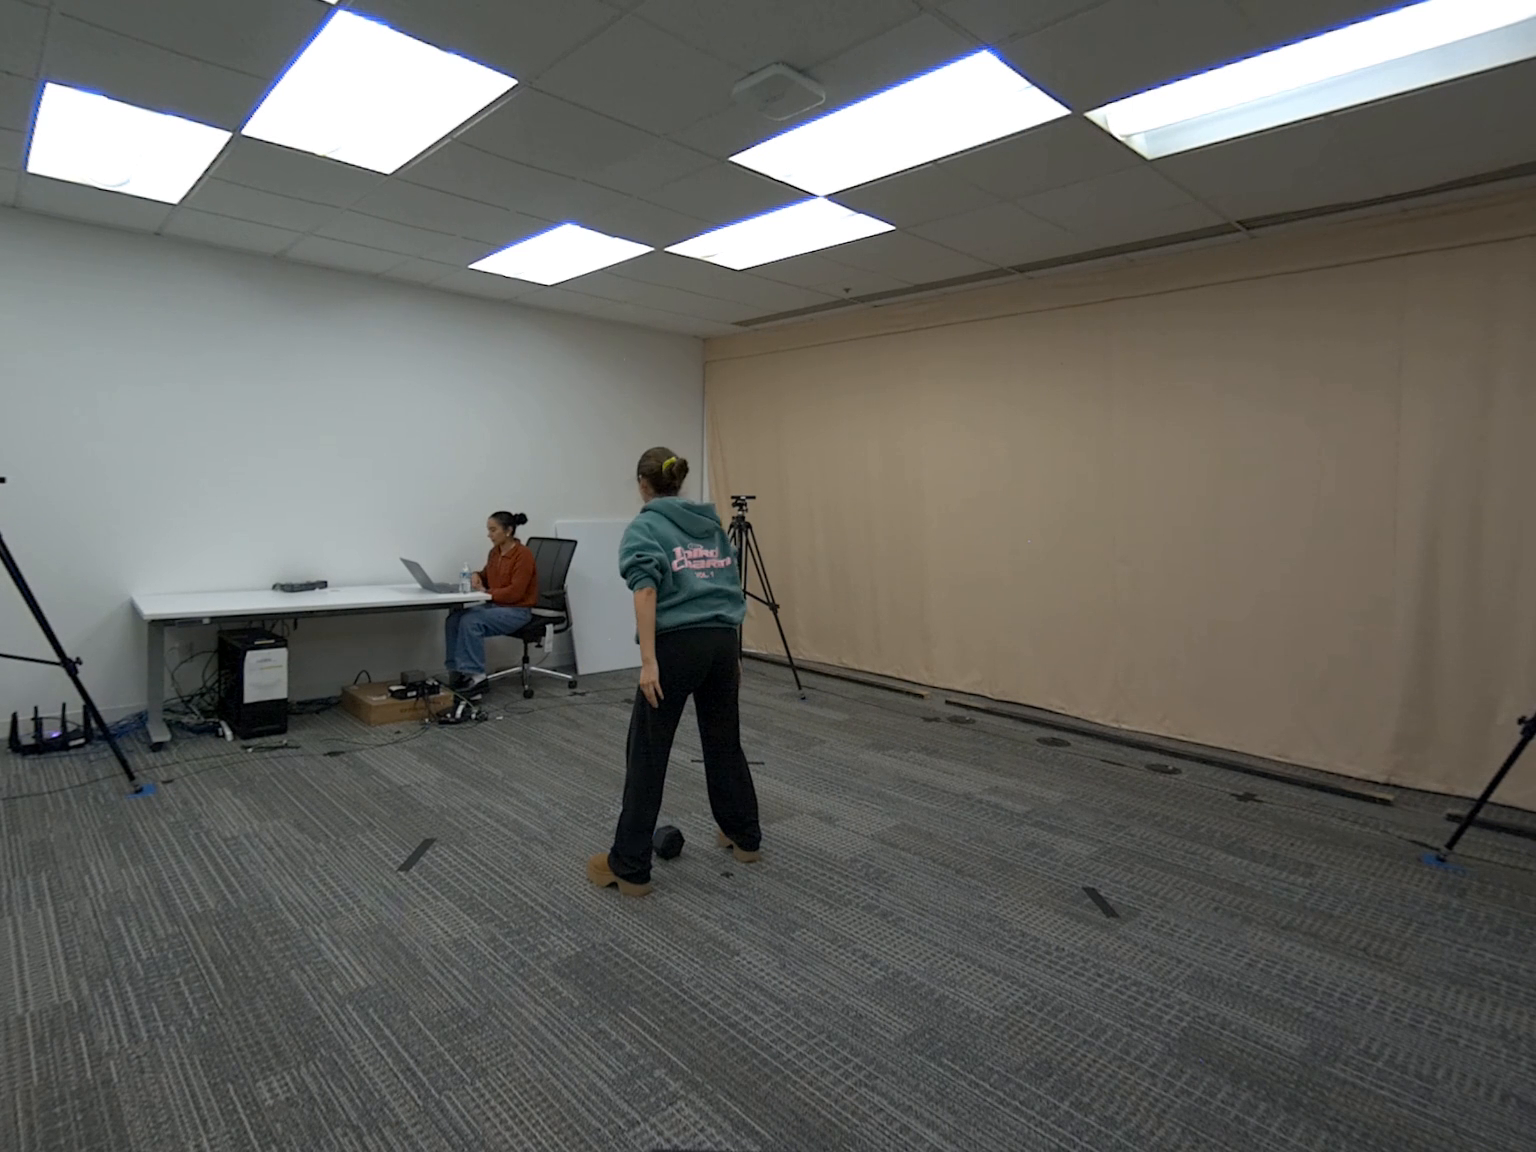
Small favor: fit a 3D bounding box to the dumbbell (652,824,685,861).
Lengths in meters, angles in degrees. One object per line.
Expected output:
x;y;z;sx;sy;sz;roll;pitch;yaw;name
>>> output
-0.464;1.018;3.331;0.120;0.108;0.301;-5;8;-43;dumbbell
